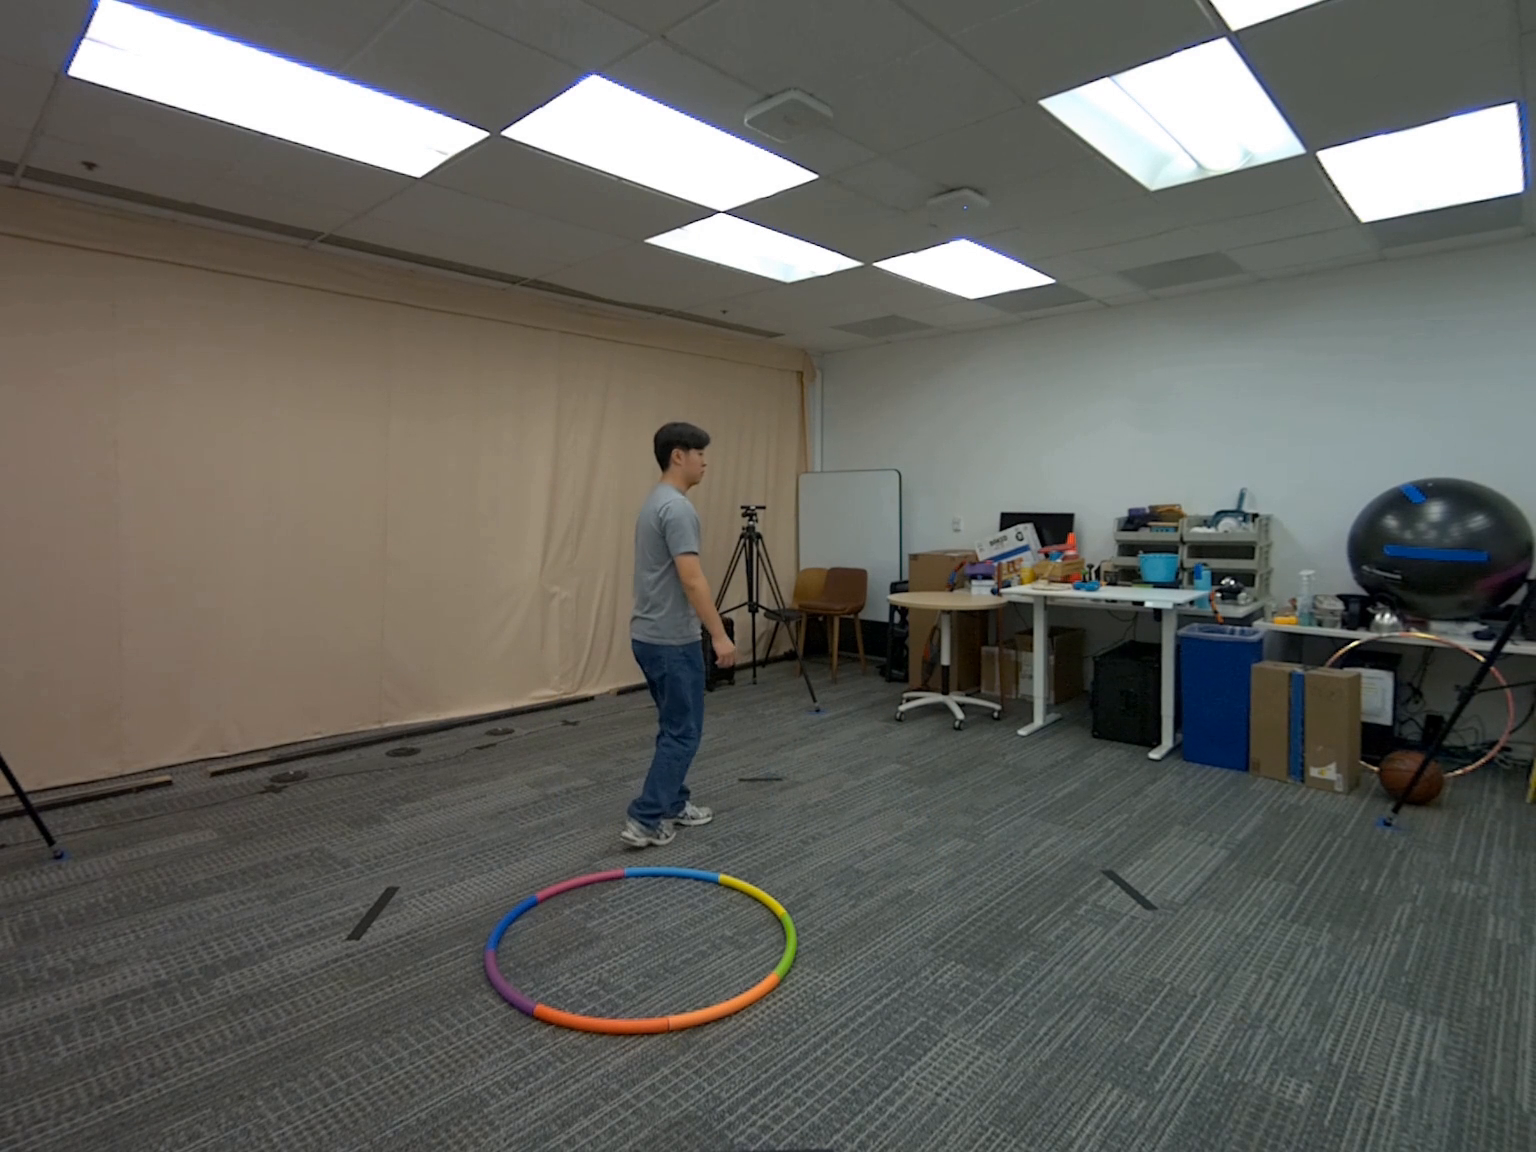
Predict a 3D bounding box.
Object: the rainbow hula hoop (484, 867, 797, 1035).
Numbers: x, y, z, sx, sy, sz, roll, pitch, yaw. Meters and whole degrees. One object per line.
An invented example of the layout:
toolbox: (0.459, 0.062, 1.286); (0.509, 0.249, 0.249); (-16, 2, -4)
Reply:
rainbow hula hoop: (-0.395, 1.142, 2.705); (0.978, 0.035, 0.982); (-1, 4, -2)
